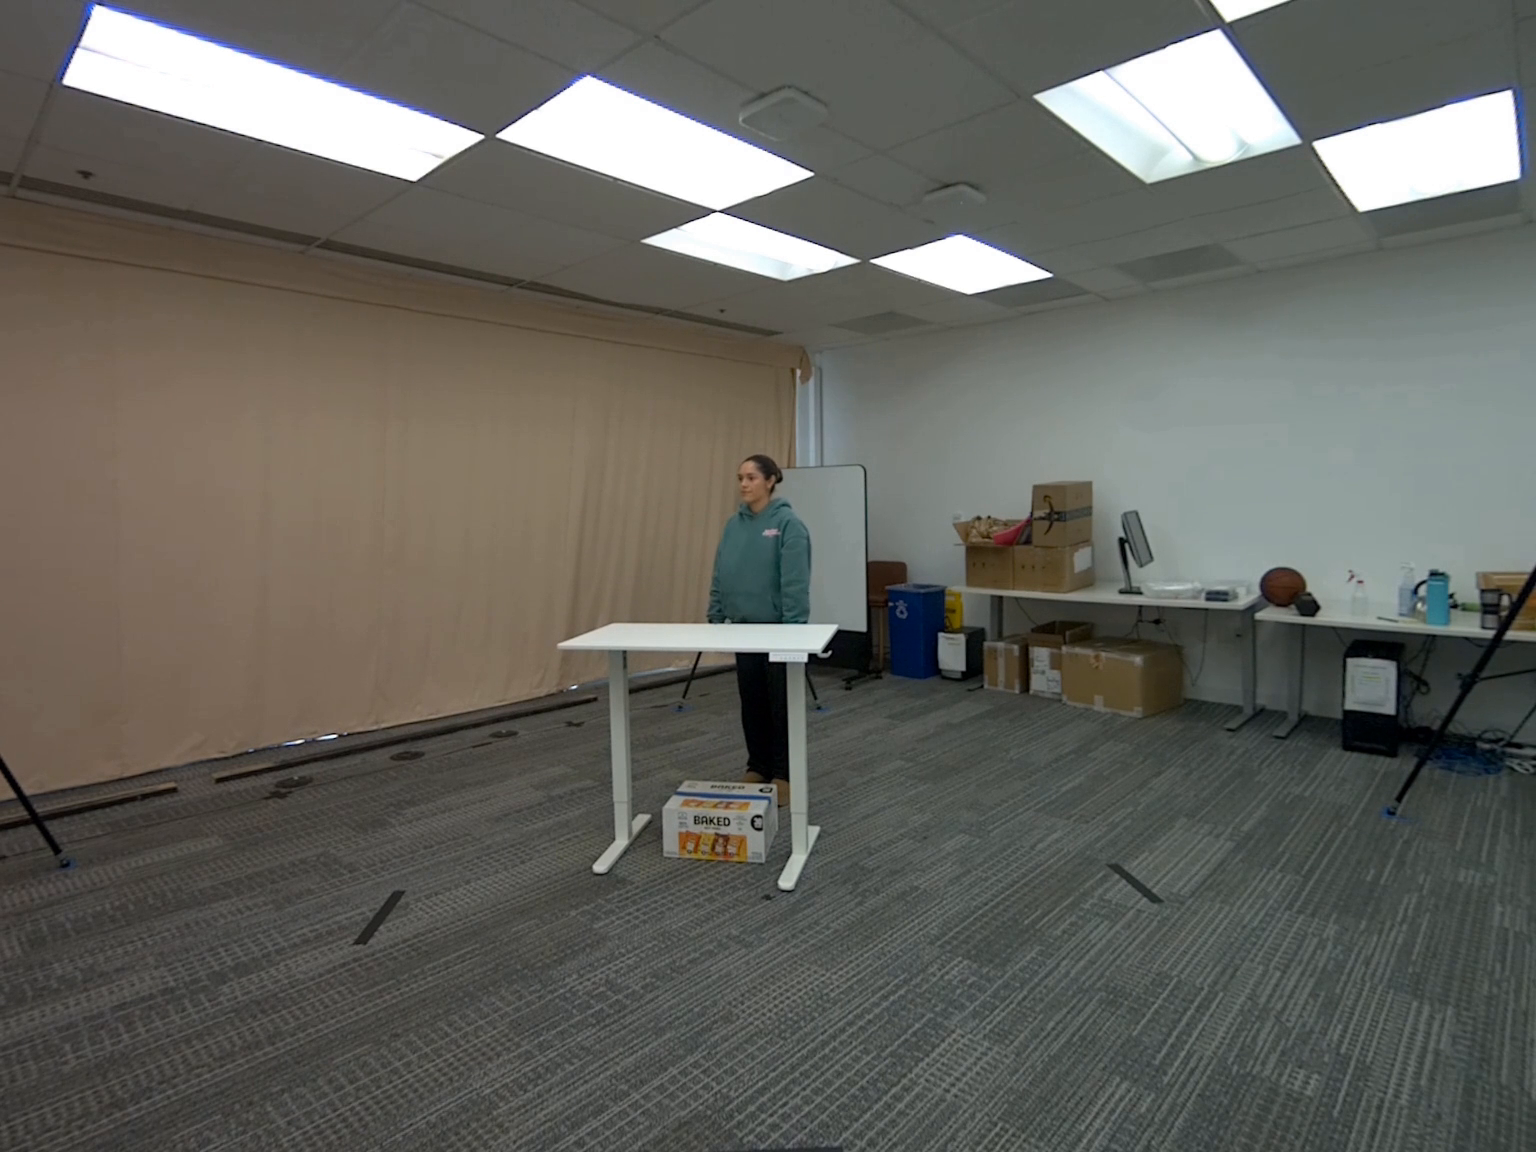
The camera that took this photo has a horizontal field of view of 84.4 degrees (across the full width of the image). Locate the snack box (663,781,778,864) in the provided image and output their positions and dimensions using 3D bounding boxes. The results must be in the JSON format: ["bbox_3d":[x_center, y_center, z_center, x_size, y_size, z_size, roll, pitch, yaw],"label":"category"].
[{"bbox_3d":[-0.187,1.001,3.455,0.410,0.205,0.337,-1,4,11],"label":"snack box"}]
